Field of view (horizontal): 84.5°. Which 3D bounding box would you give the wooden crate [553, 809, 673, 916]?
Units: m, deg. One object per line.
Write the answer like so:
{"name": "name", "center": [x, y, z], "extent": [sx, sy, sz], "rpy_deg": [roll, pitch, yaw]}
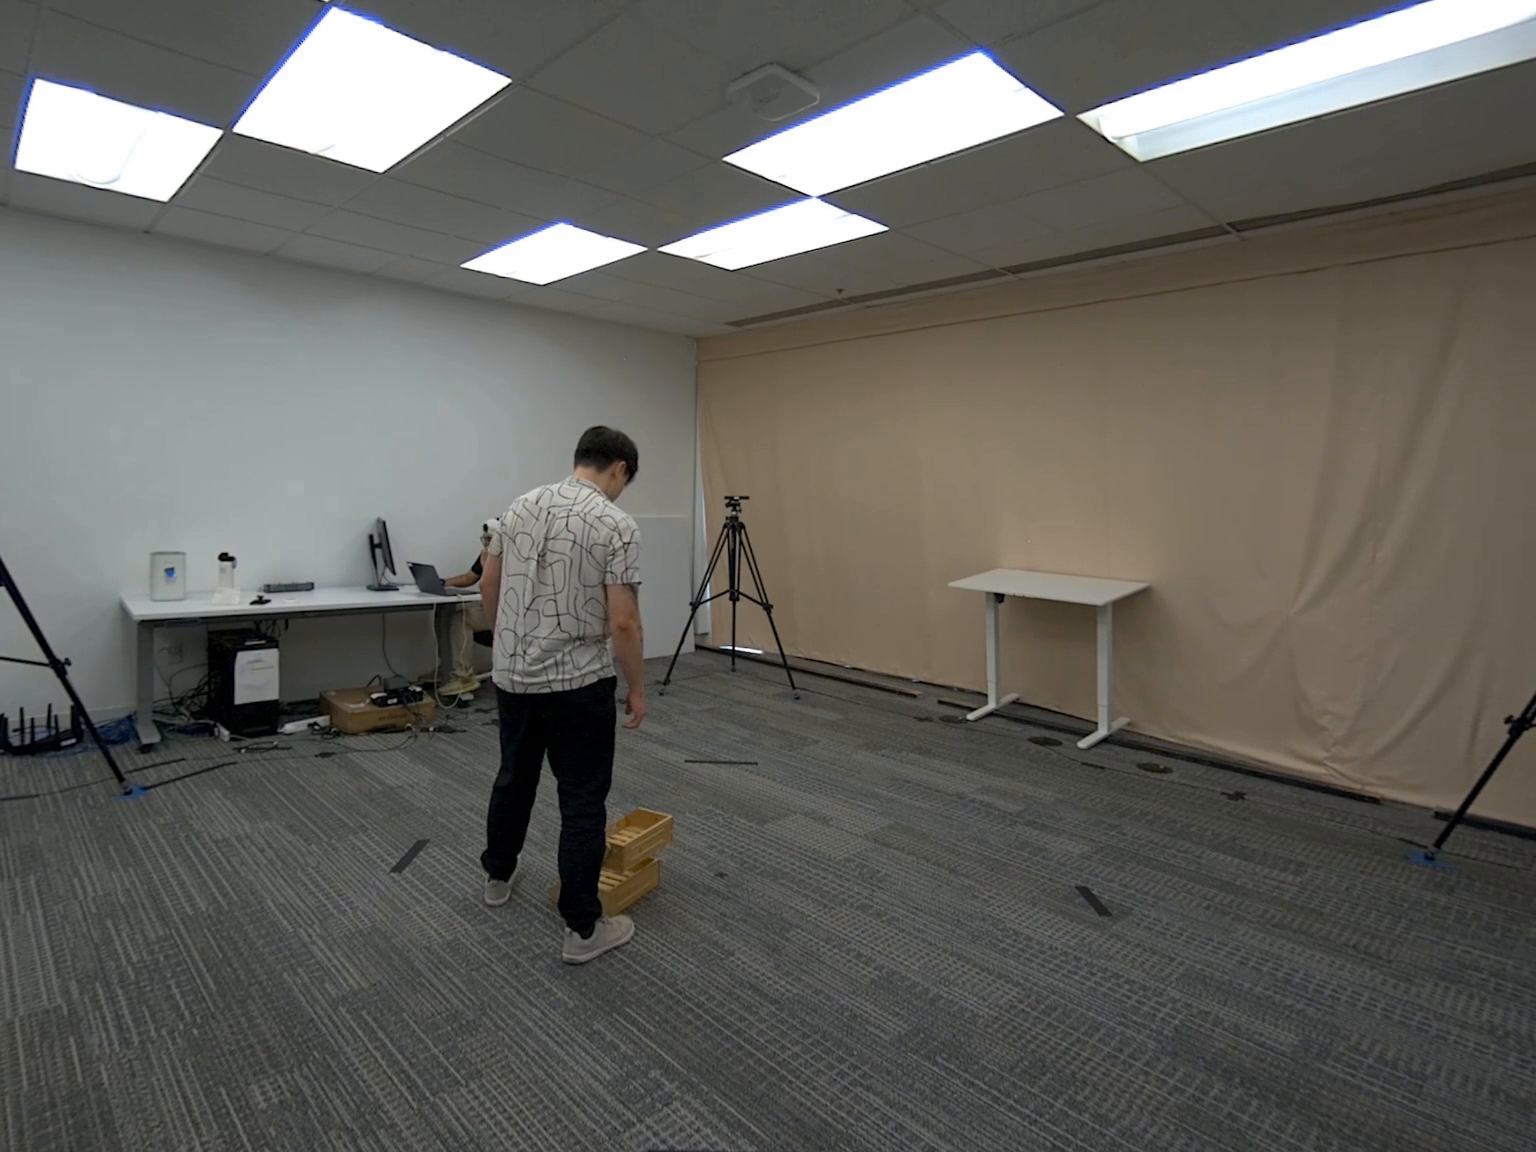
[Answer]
{"name": "wooden crate", "center": [-0.547, 0.978, 2.924], "extent": [0.308, 0.272, 0.318], "rpy_deg": [4, 5, 27]}
